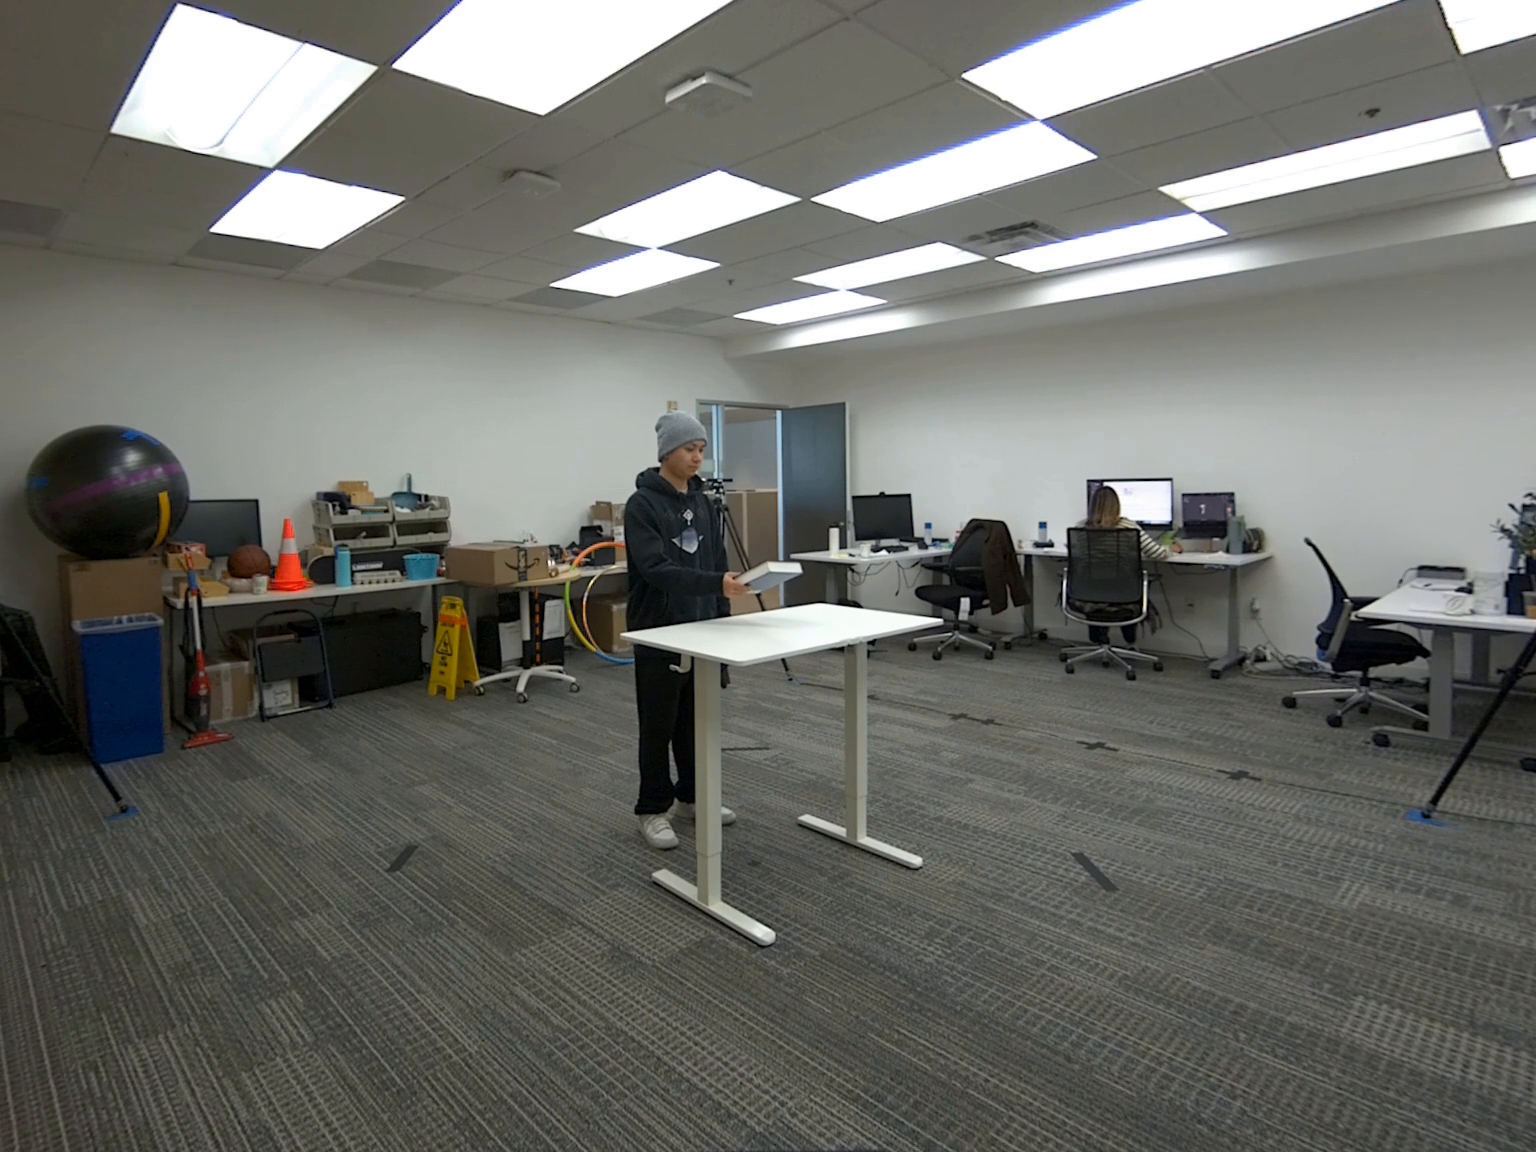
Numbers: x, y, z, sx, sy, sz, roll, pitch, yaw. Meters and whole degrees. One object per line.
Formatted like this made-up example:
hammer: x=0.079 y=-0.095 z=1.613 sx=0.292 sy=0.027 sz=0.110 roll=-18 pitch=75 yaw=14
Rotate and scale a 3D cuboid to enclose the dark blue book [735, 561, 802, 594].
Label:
dark blue book: x=-0.012 y=0.008 z=3.001 sx=0.158 sy=0.046 sz=0.248 roll=1 pitch=-18 yaw=-43
